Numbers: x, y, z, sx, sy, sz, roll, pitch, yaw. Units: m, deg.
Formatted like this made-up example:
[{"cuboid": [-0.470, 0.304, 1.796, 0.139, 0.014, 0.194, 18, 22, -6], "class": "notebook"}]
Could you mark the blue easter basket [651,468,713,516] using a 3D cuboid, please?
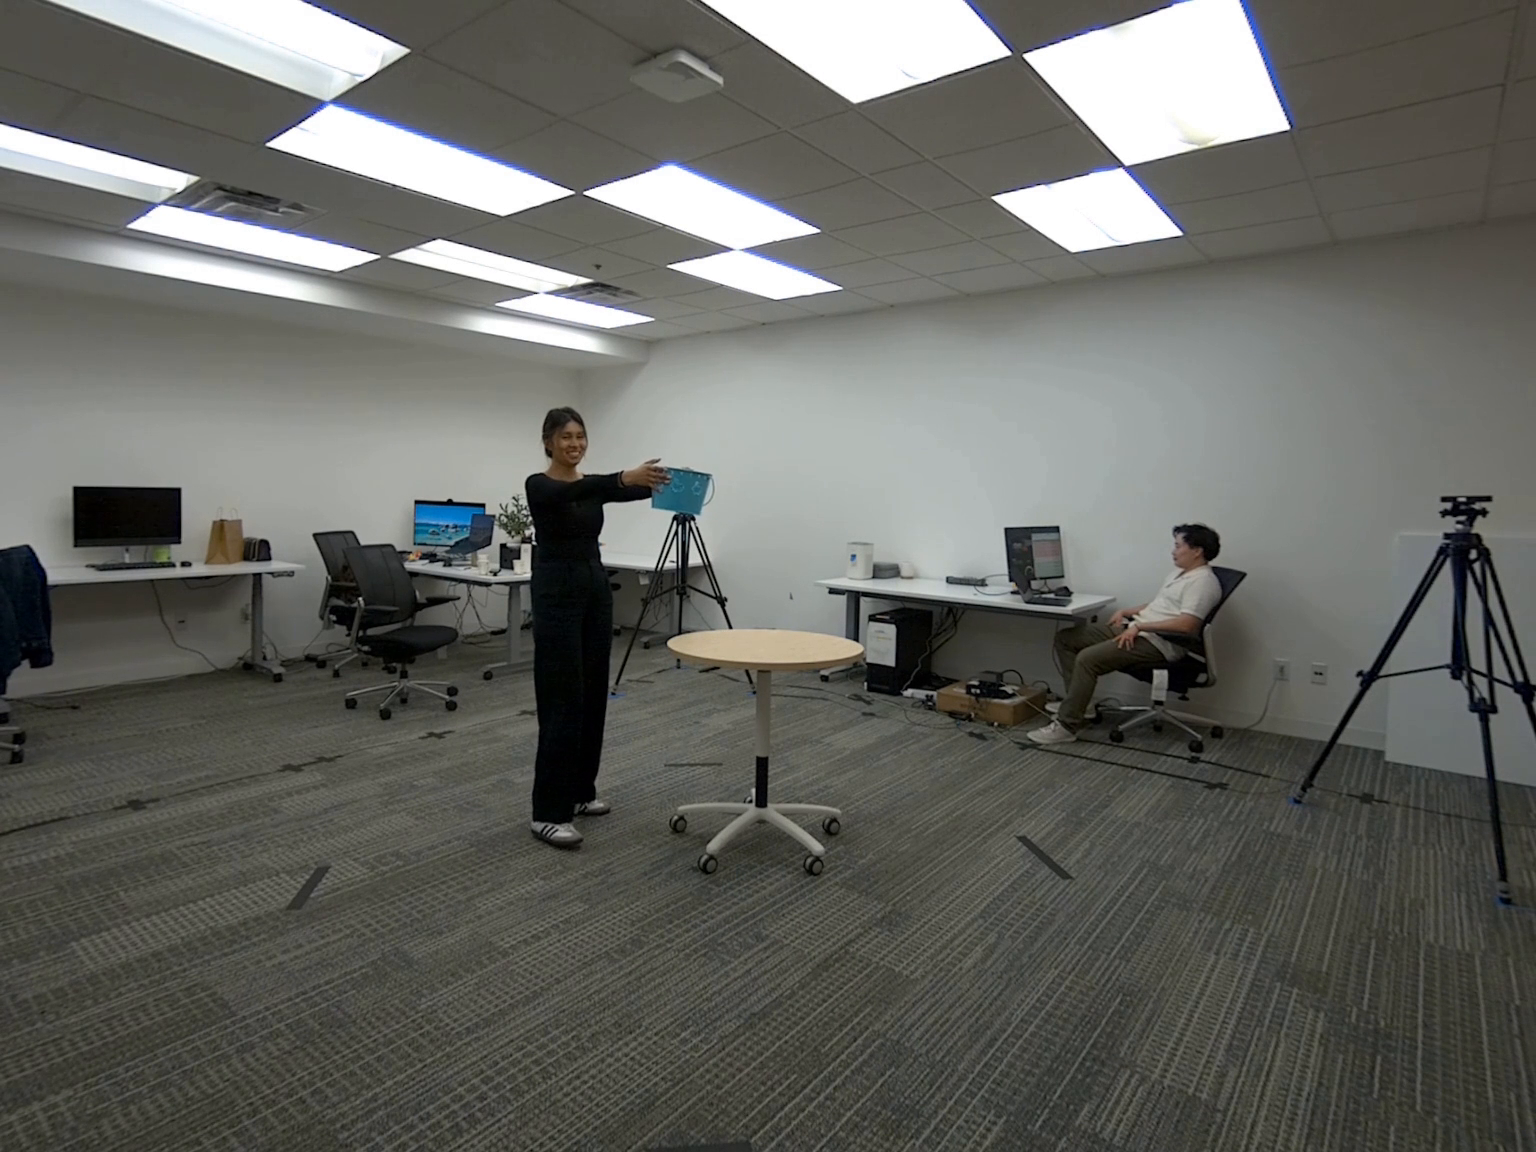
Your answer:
[{"cuboid": [-0.322, -0.312, 3.126, 0.243, 0.156, 0.244, 5, 2, -2], "class": "blue easter basket"}]
